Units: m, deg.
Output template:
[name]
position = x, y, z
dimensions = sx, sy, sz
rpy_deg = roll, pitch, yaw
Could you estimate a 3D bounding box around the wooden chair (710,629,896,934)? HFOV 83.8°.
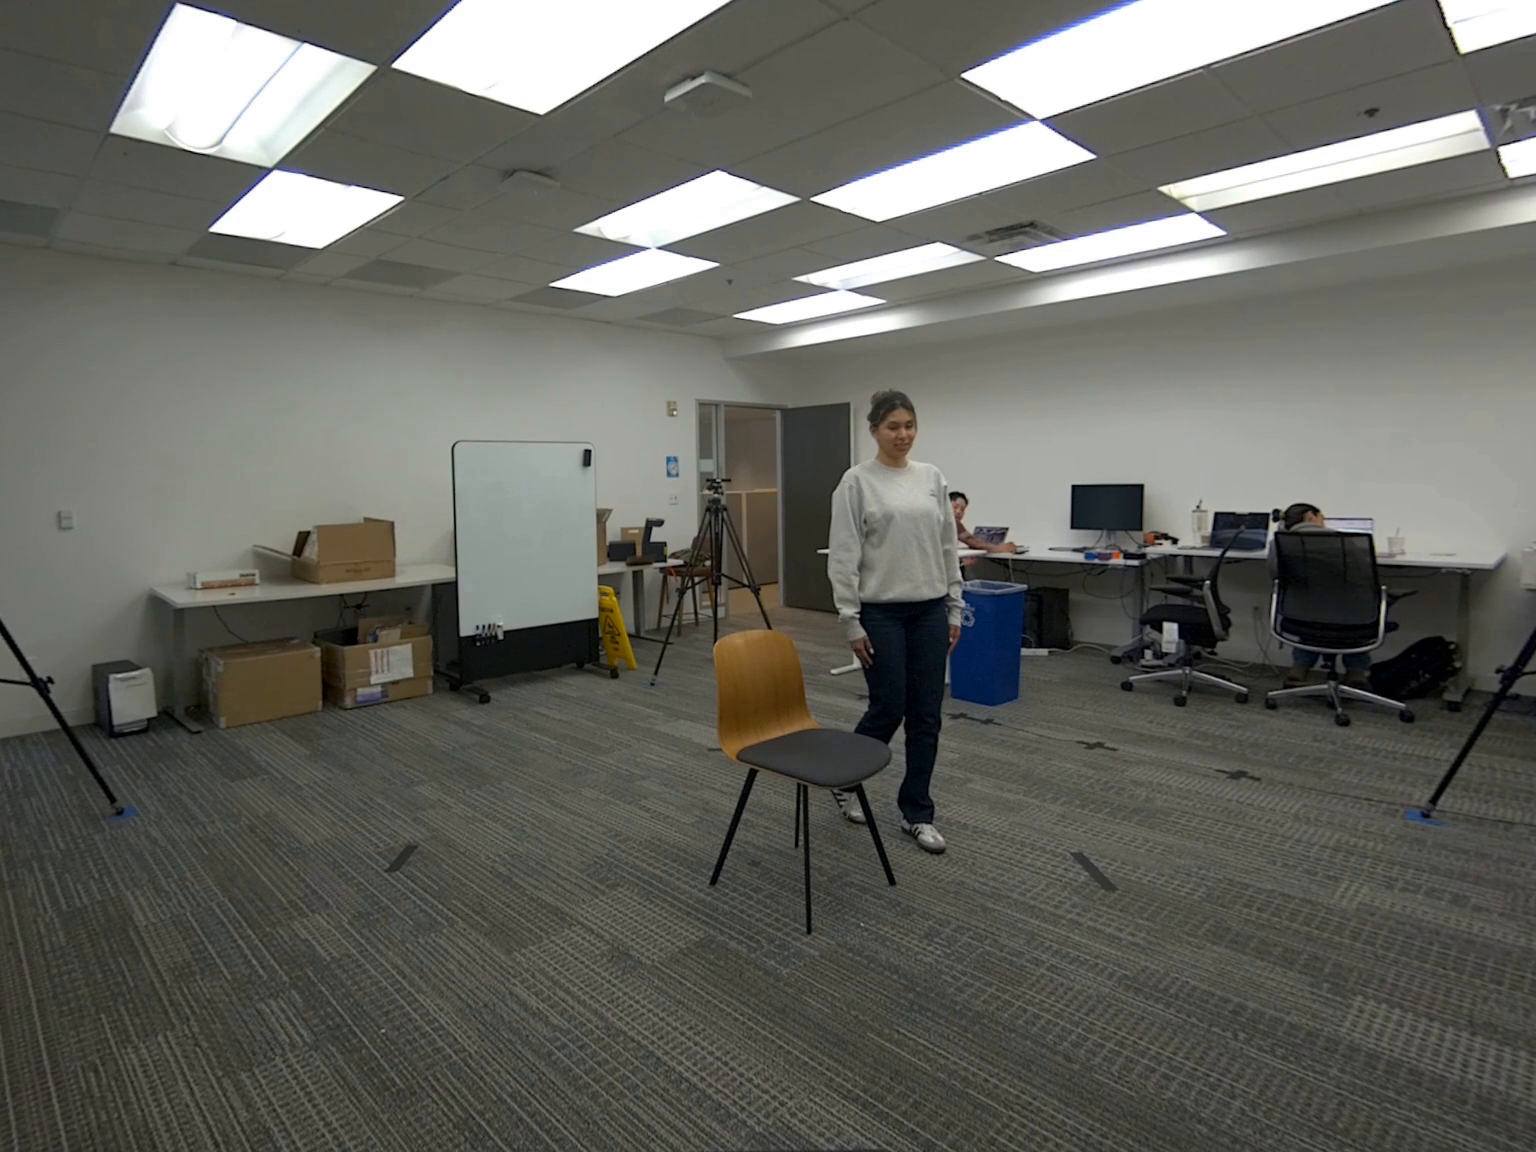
[wooden chair]
position = 0.115, 0.638, 2.894
dimensions = 0.465, 0.877, 0.538
rpy_deg = -5, 1, -45
